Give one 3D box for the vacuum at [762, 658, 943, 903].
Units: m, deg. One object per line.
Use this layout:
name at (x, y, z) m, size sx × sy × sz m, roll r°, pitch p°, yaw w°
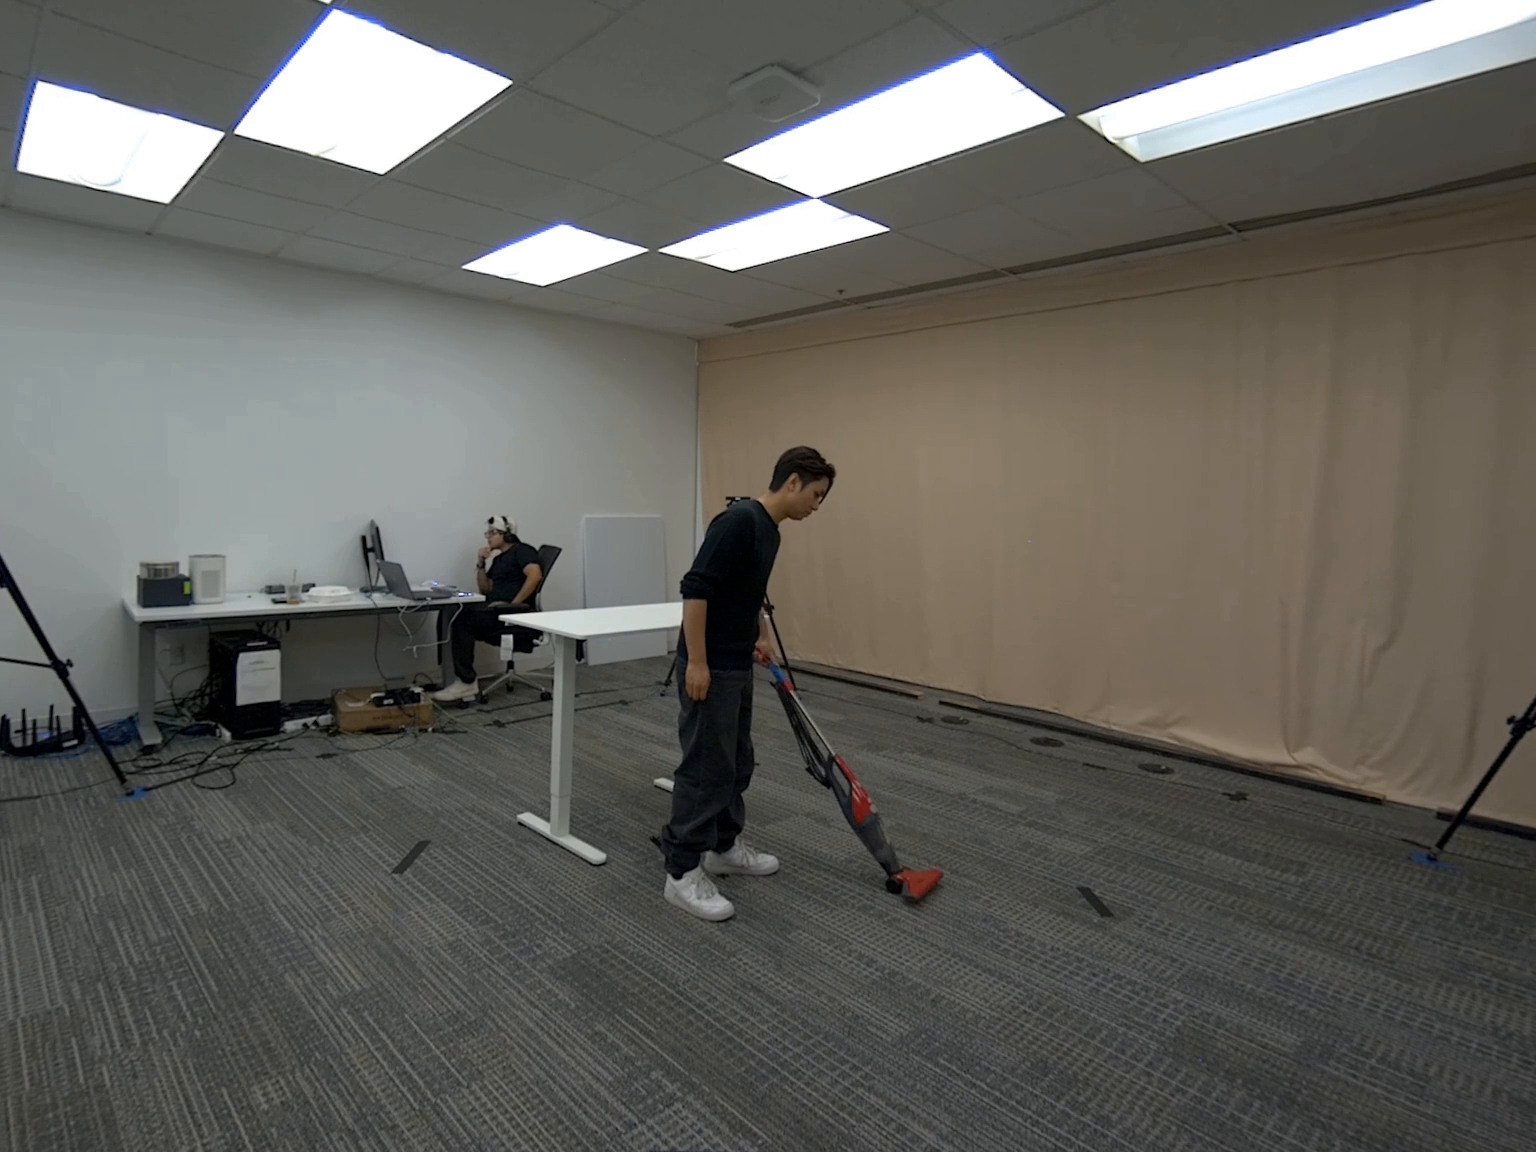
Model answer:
vacuum at (0.224, 0.717, 3.197) m, size 0.144 × 1.071 × 0.247 m, roll -45°, pitch -21°, yaw 20°
